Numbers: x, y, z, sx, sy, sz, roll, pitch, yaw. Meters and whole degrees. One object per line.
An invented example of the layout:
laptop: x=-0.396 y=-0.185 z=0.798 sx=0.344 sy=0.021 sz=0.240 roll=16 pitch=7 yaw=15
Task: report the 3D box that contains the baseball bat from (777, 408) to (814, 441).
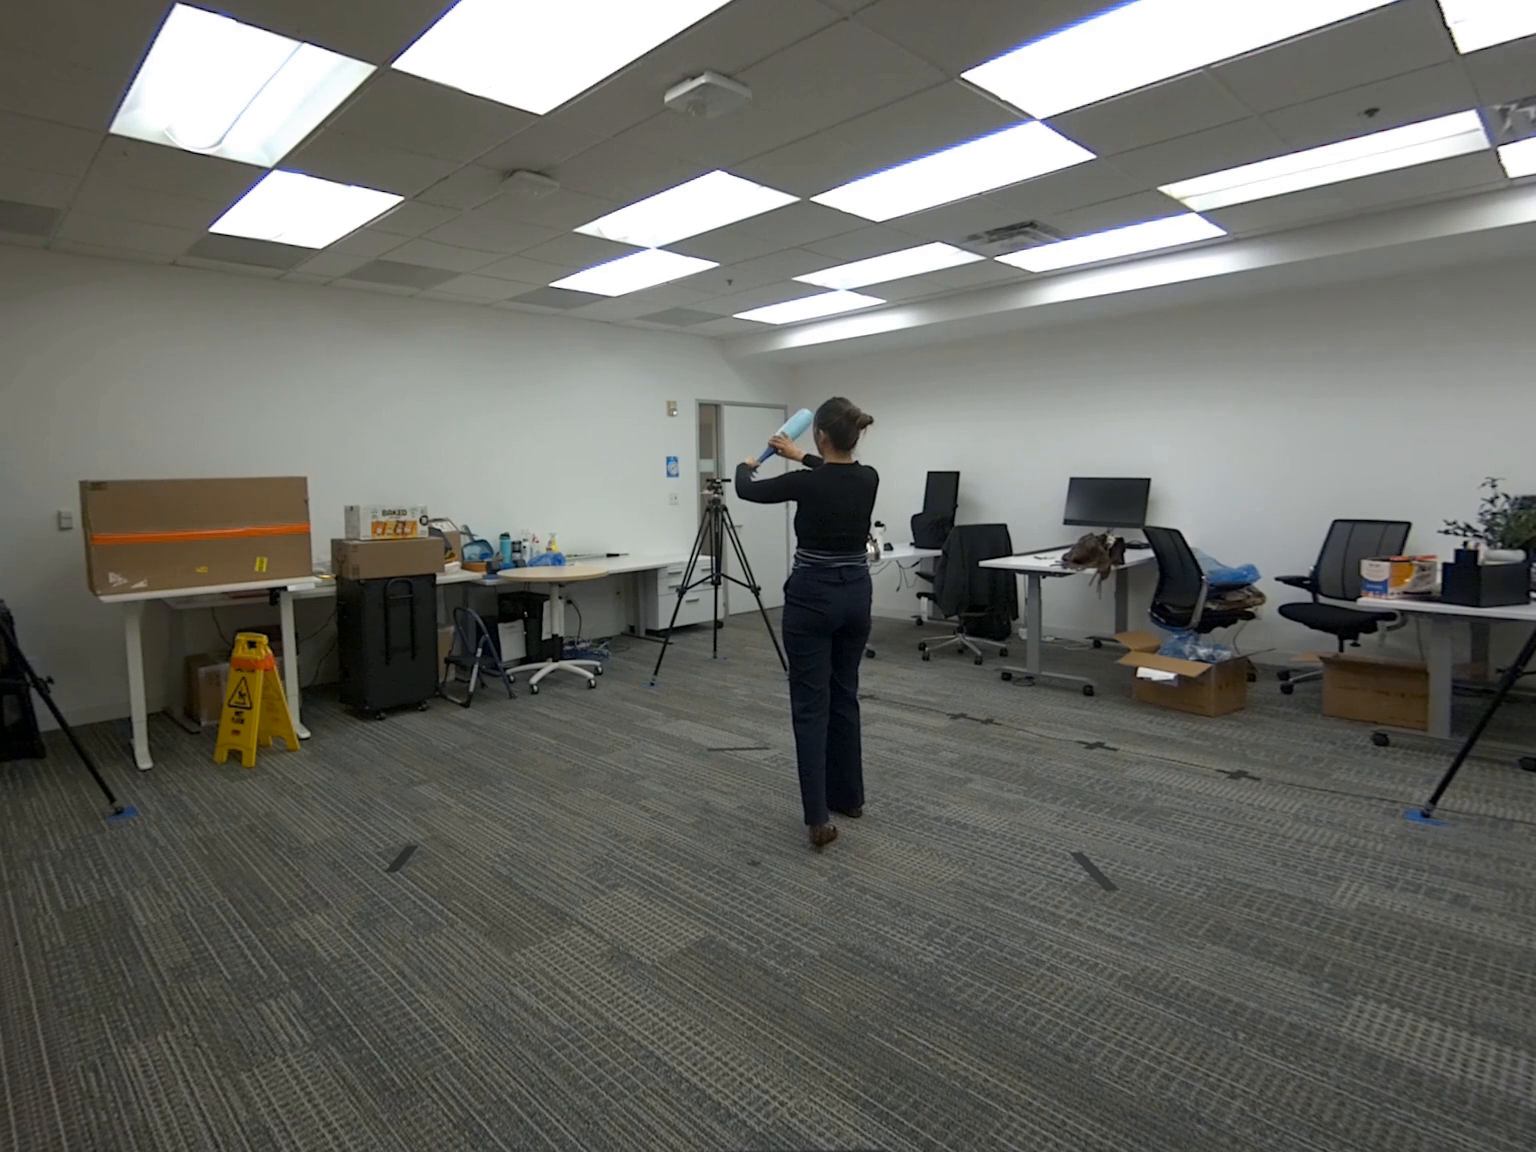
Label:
baseball bat: x=0.047 y=-0.599 z=3.903 sx=0.092 sy=0.086 sz=0.544 roll=2 pitch=40 yaw=38
